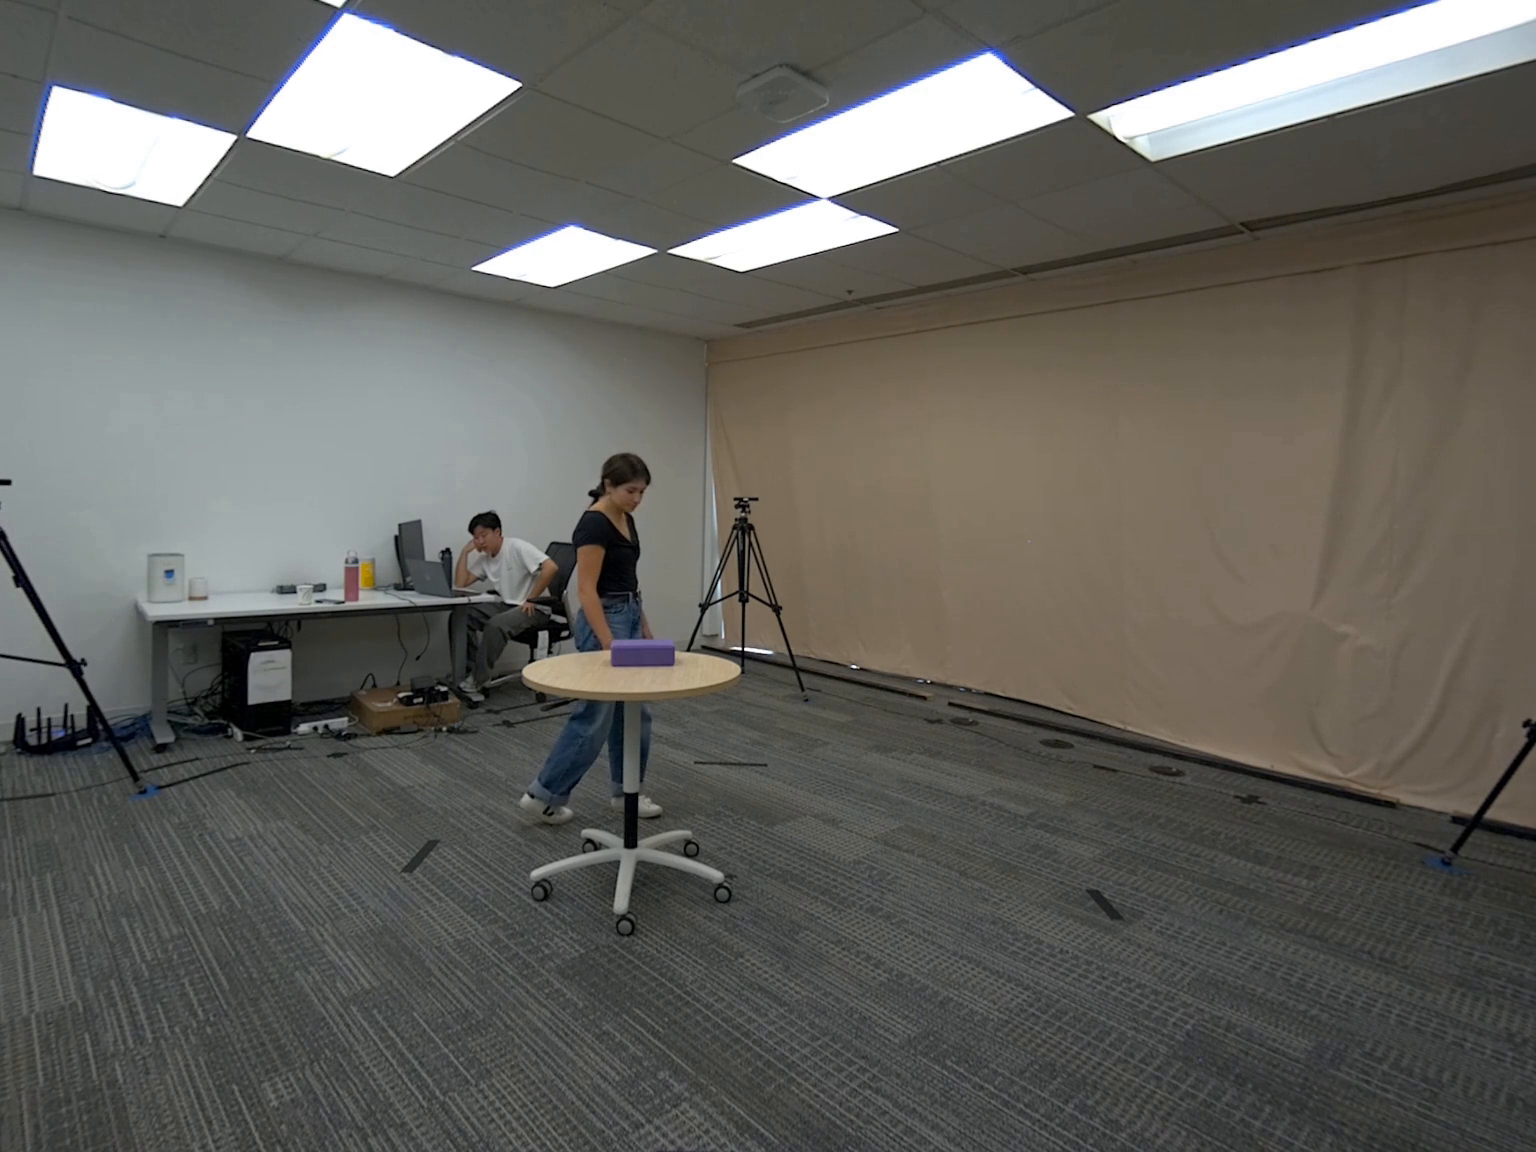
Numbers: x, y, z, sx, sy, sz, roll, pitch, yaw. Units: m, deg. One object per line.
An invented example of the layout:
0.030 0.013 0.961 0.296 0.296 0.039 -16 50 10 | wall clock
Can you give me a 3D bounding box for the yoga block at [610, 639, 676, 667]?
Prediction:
-0.471 0.286 3.079 0.228 0.076 0.150 0 5 -7 | yoga block
